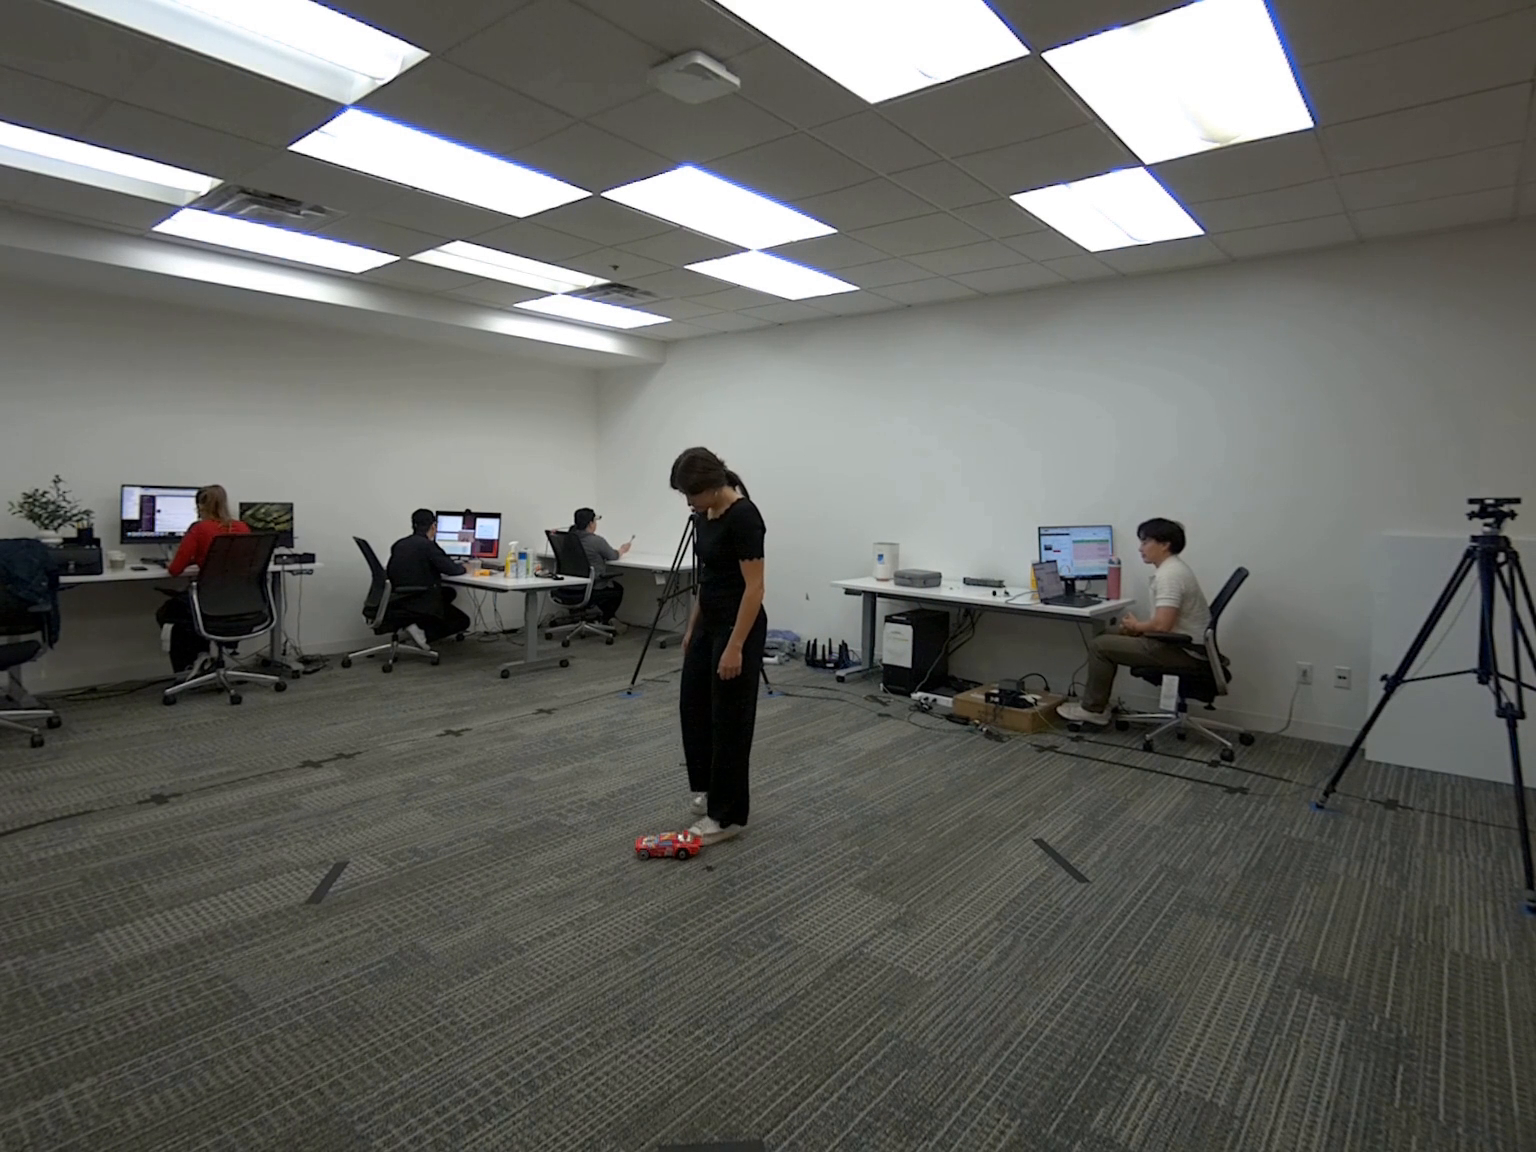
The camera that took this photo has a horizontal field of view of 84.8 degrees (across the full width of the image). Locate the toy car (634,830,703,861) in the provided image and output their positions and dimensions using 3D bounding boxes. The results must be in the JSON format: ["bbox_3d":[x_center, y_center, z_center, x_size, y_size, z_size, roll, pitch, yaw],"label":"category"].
[{"bbox_3d":[-0.384,1.021,3.223,0.255,0.083,0.131,-10,6,0],"label":"toy car"}]
